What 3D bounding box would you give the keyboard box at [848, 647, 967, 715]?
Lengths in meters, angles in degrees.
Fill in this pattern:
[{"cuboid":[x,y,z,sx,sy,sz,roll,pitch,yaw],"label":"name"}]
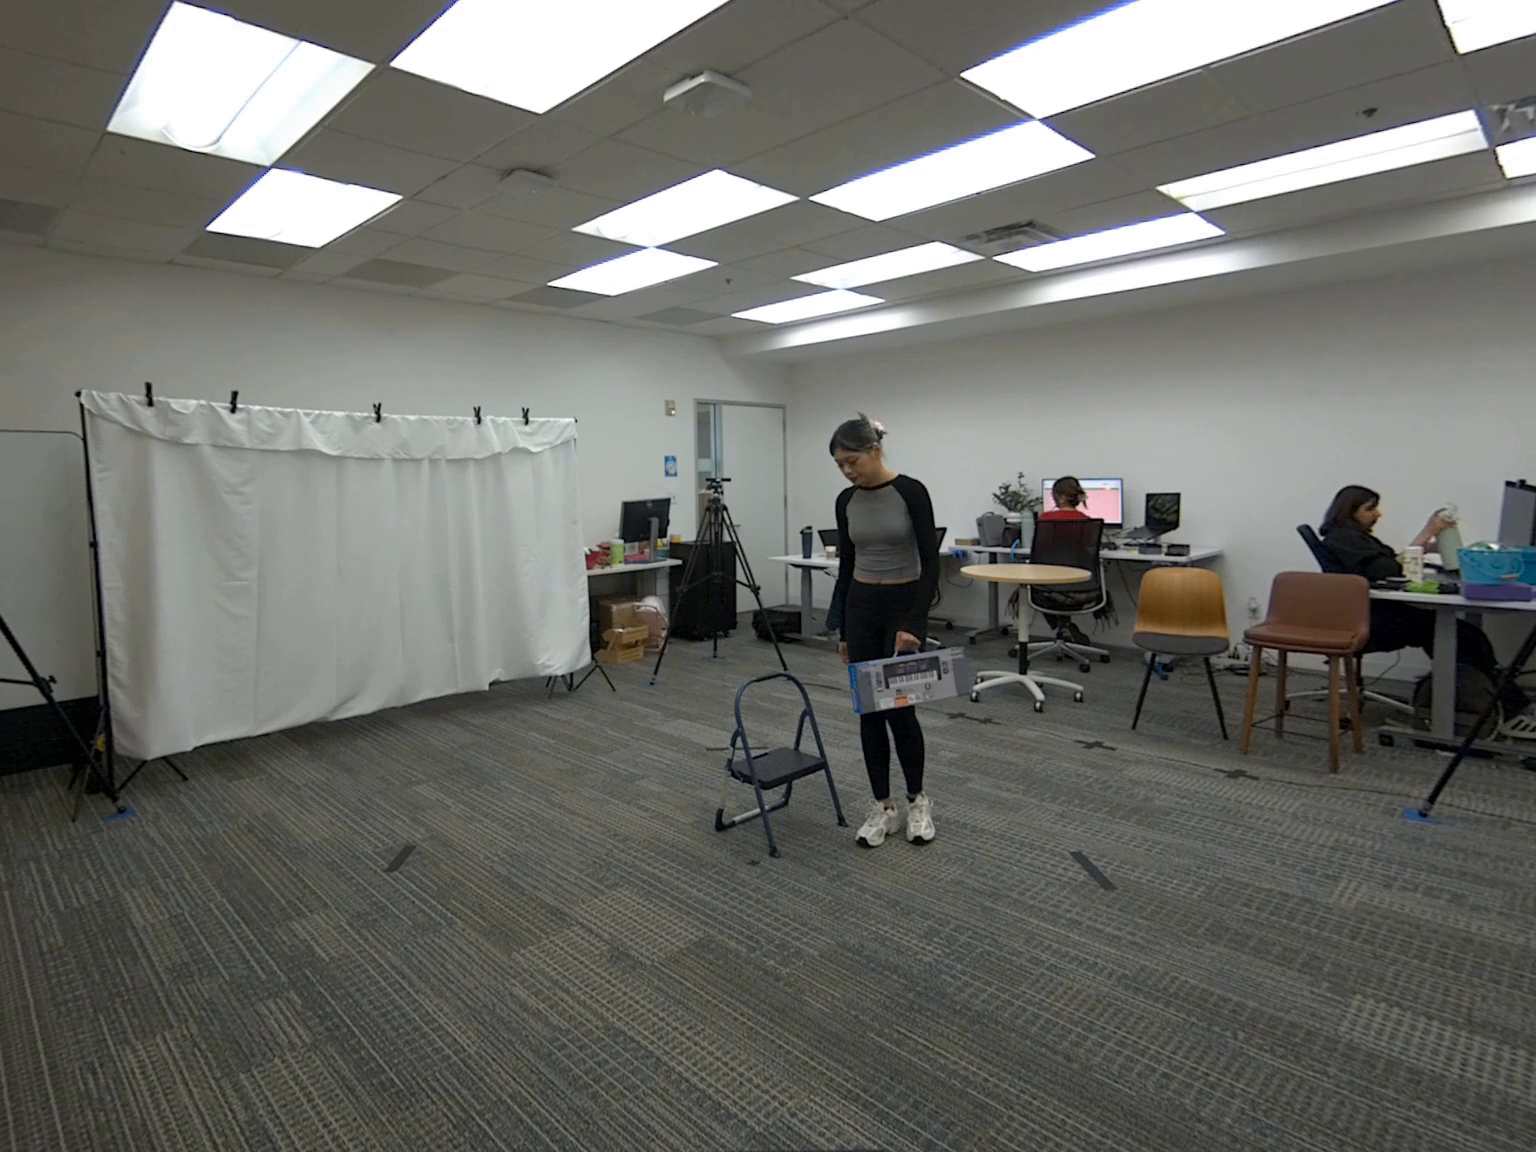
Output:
[{"cuboid":[0.502,0.372,3.042,0.430,0.176,0.060,-7,-2,-17],"label":"keyboard box"}]
